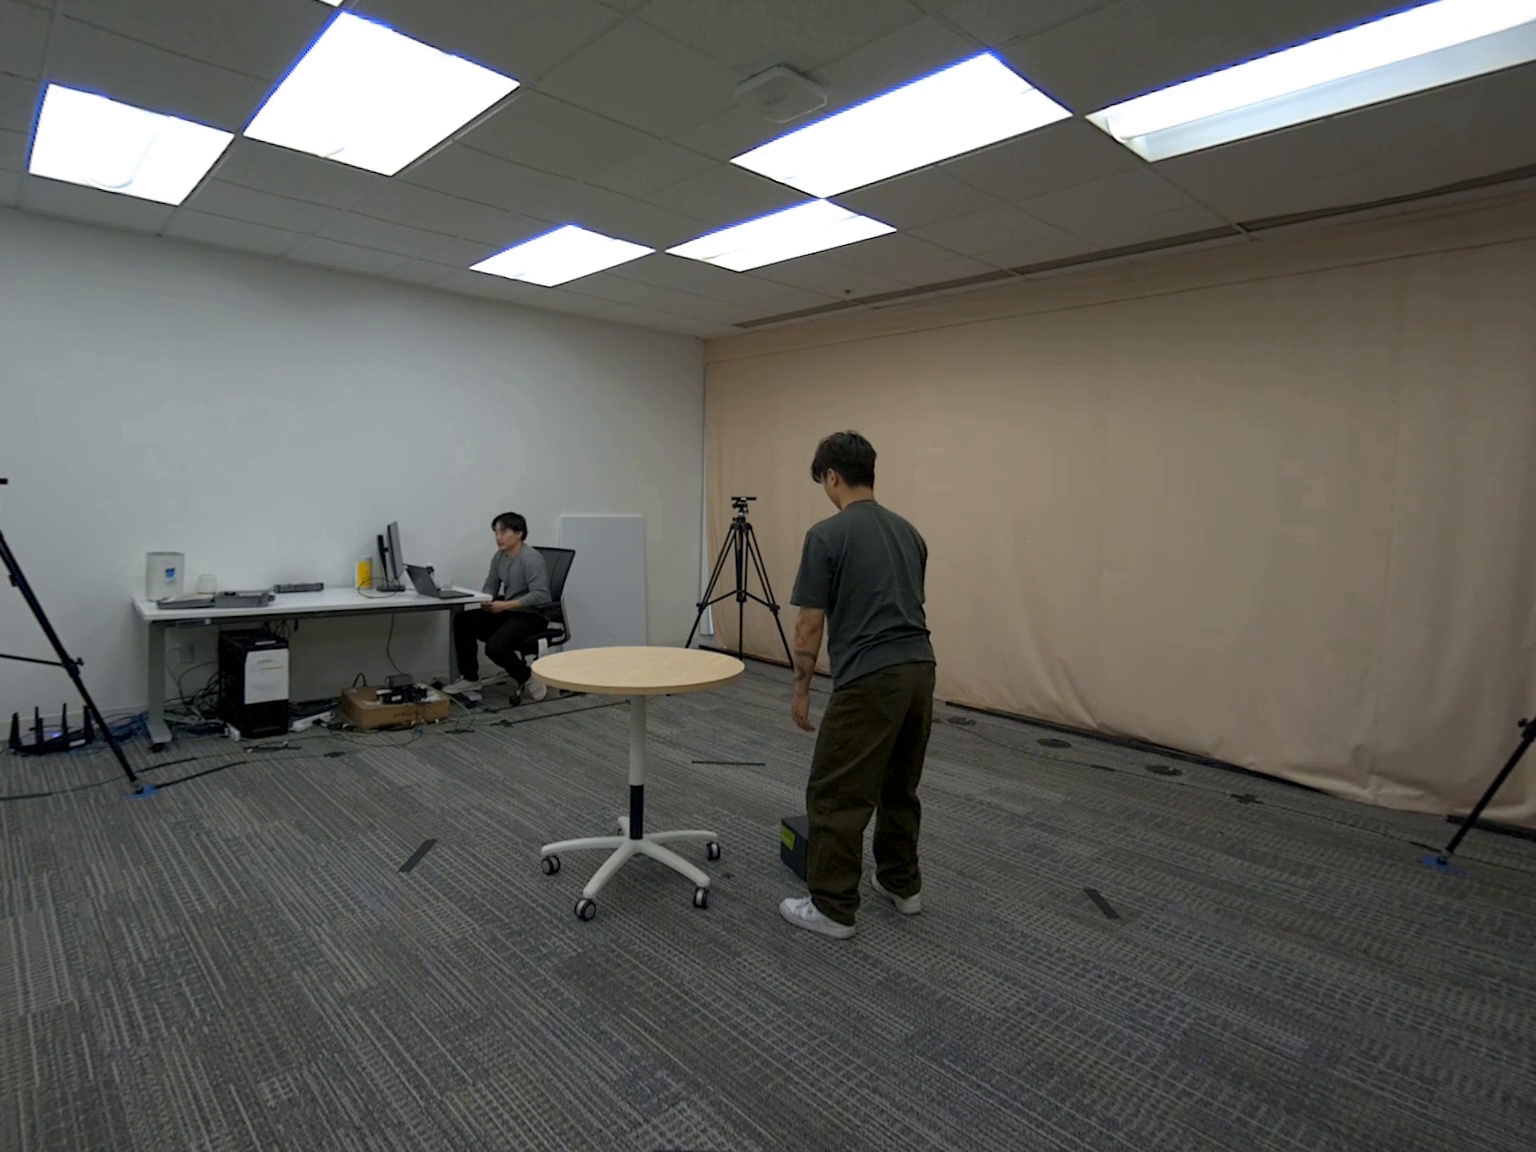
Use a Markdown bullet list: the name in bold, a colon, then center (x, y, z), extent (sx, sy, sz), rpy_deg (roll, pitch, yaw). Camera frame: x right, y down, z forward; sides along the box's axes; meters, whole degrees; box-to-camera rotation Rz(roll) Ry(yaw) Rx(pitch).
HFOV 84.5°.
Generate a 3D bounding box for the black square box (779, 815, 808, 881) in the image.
- **black square box**: center (0.184, 1.023, 3.201), extent (0.213, 0.155, 0.232), rpy_deg (0, 4, -23)
